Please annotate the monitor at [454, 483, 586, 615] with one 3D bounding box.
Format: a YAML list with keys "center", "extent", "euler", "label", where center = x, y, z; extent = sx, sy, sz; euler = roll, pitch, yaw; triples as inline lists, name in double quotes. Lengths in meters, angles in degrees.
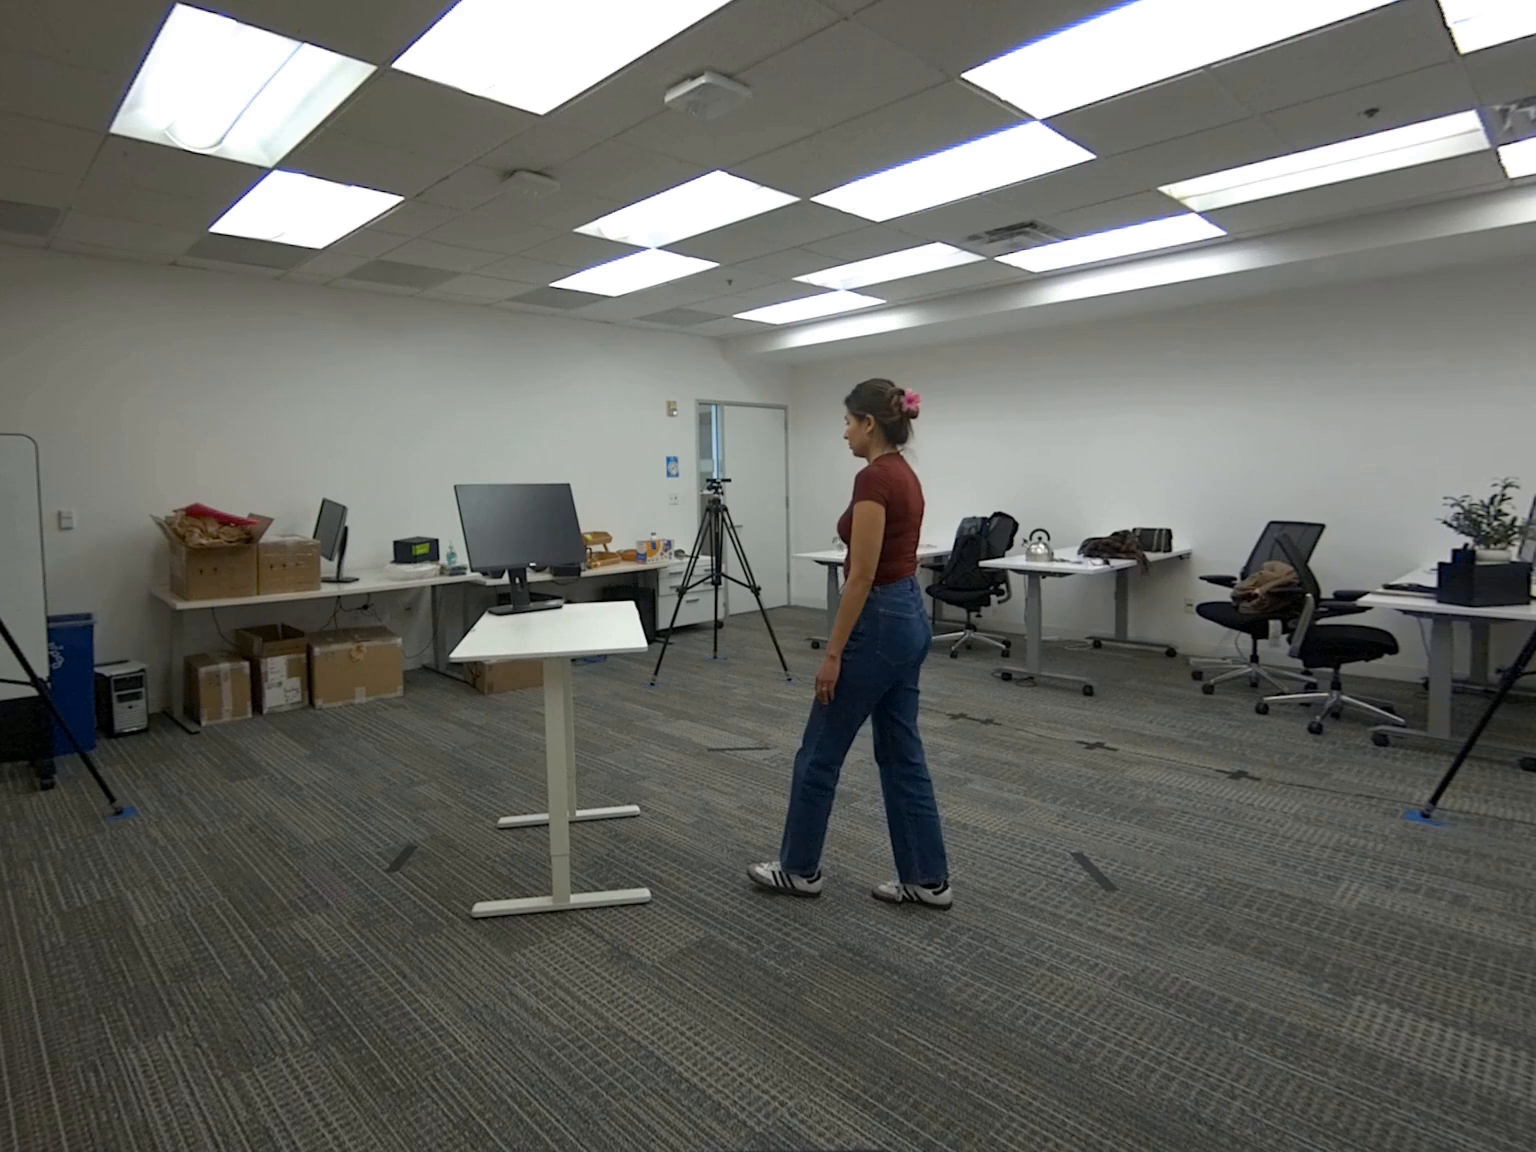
- center: [-1.012, -0.115, 3.483]
  extent: [0.192, 0.522, 0.525]
  euler: [-3, 2, 41]
  label: "monitor"
